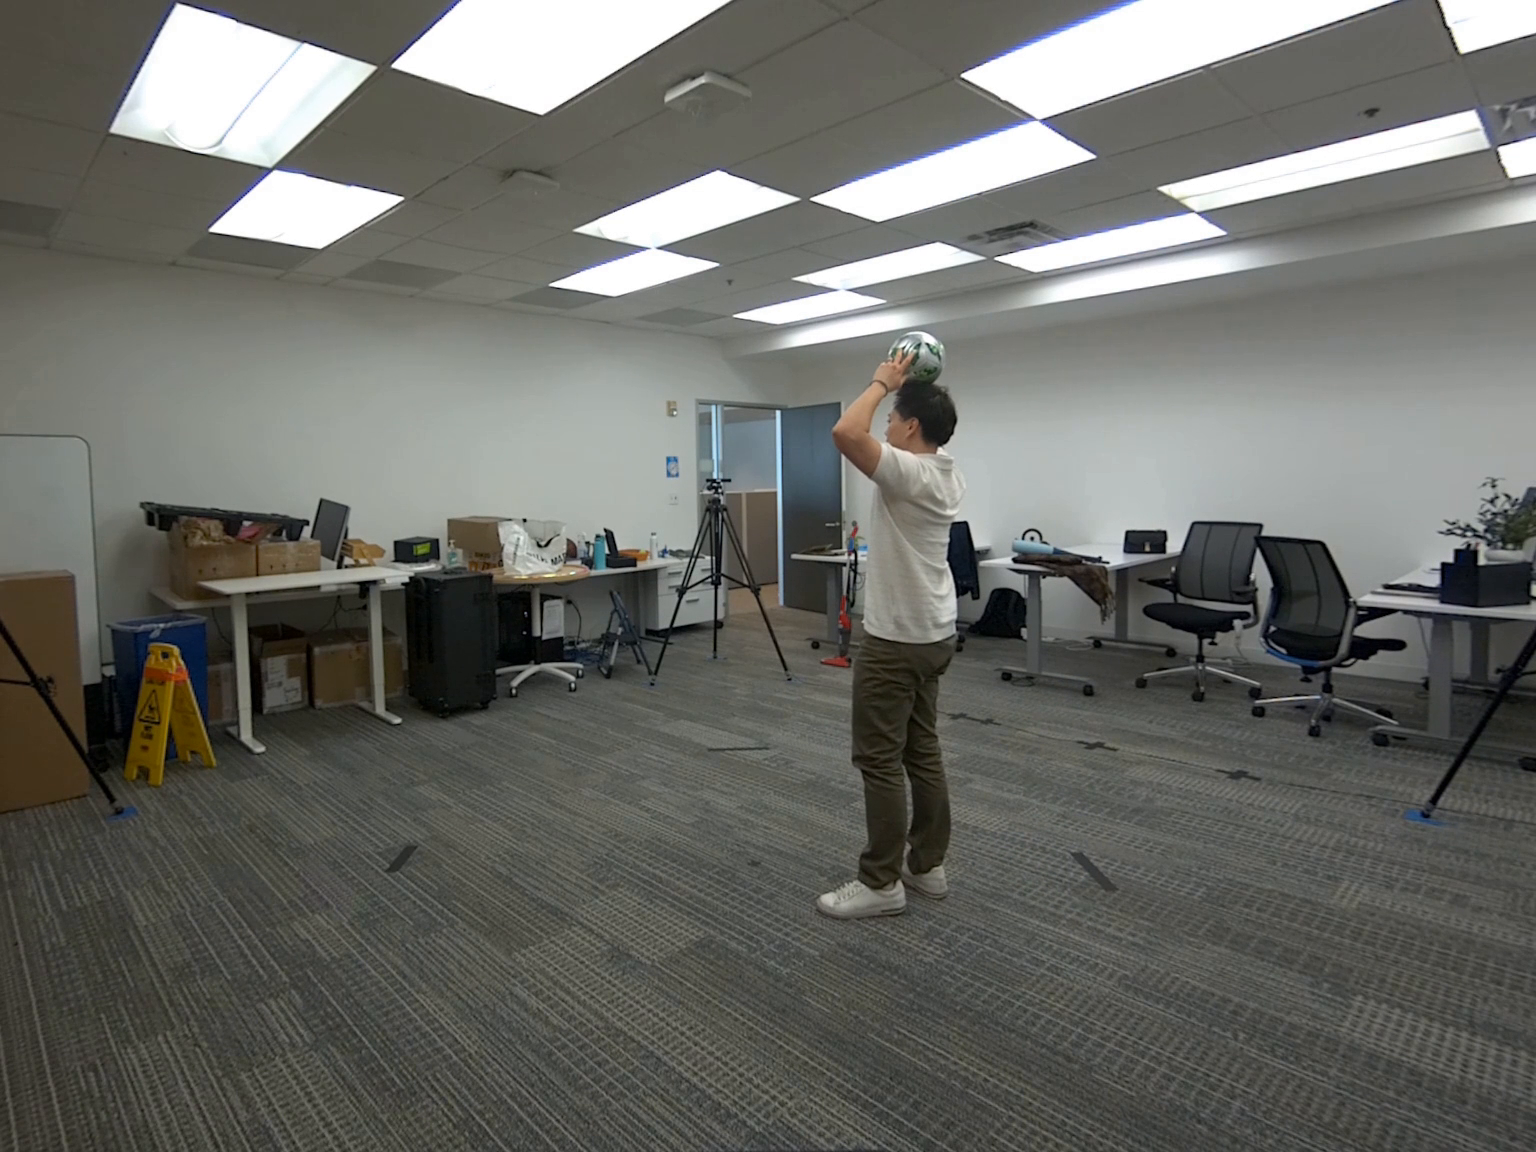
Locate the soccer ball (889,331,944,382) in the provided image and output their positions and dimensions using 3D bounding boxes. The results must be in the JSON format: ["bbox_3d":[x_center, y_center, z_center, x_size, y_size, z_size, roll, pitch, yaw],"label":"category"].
[{"bbox_3d":[0.493,-0.710,2.819,0.187,0.187,0.188,-1,5,-2],"label":"soccer ball"}]
